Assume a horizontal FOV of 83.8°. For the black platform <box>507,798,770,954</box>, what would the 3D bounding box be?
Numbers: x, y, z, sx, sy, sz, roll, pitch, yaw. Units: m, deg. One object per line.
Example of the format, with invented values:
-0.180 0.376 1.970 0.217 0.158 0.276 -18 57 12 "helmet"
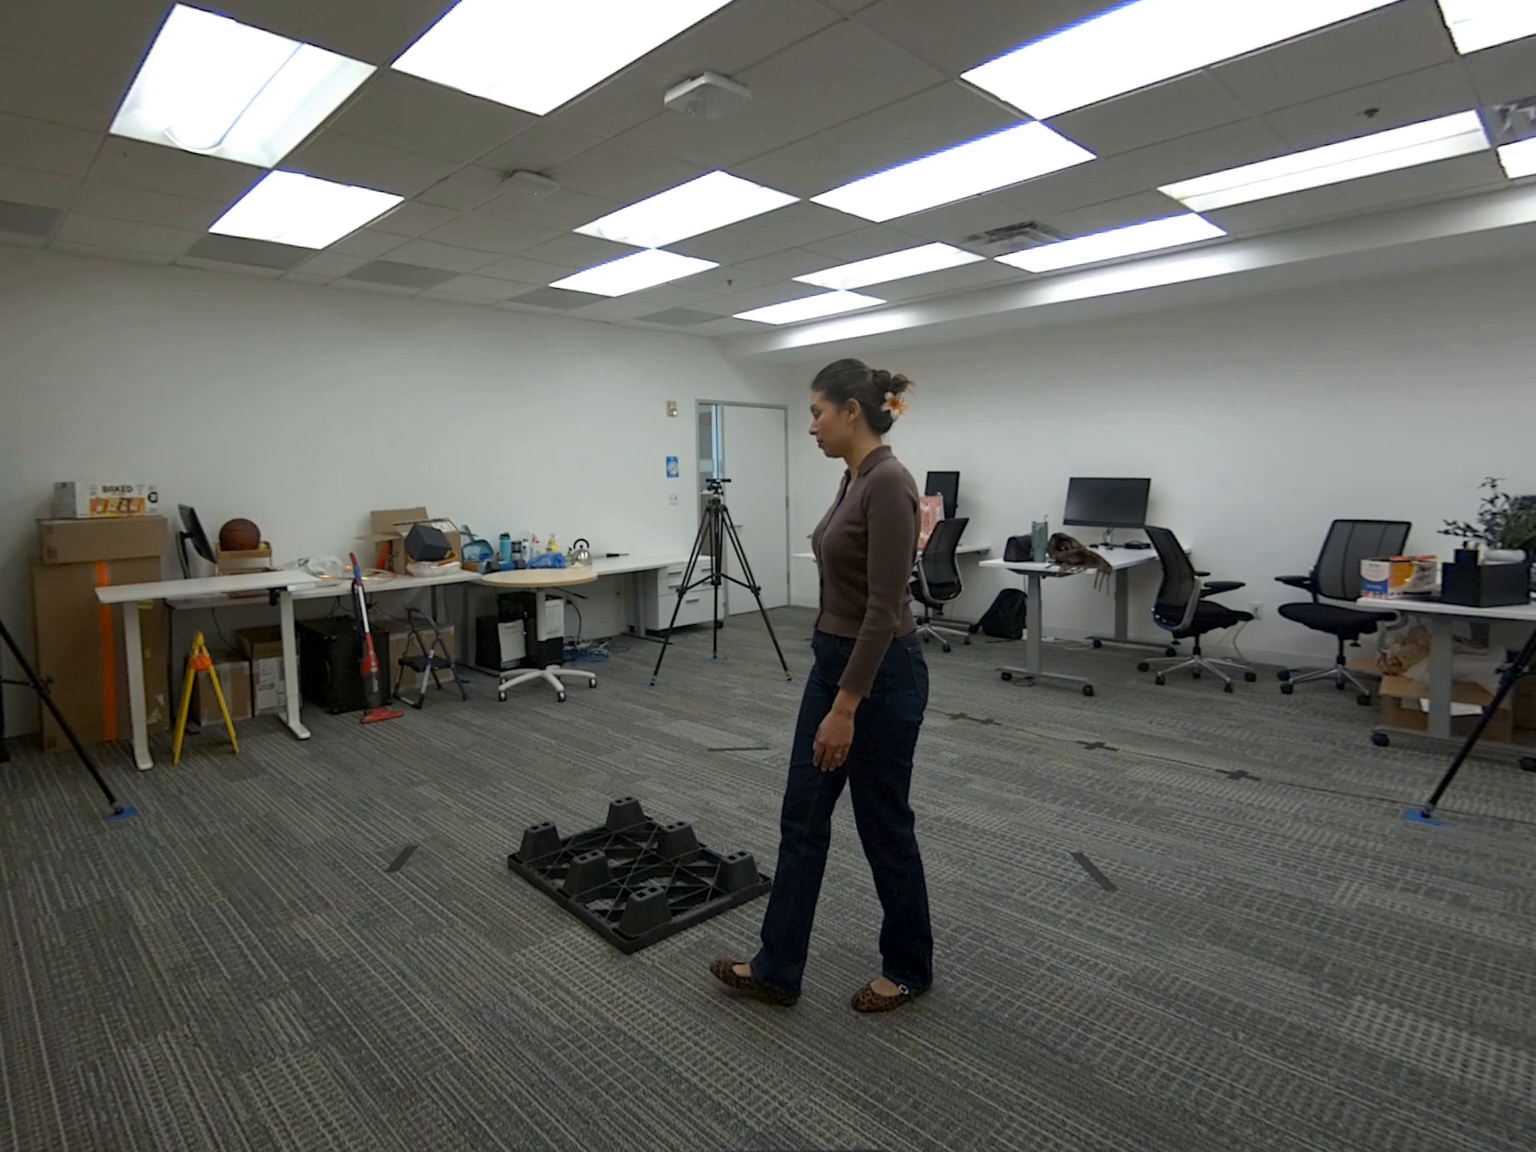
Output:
-0.462 0.998 3.008 0.589 0.142 0.831 -7 9 -41 "black platform"
